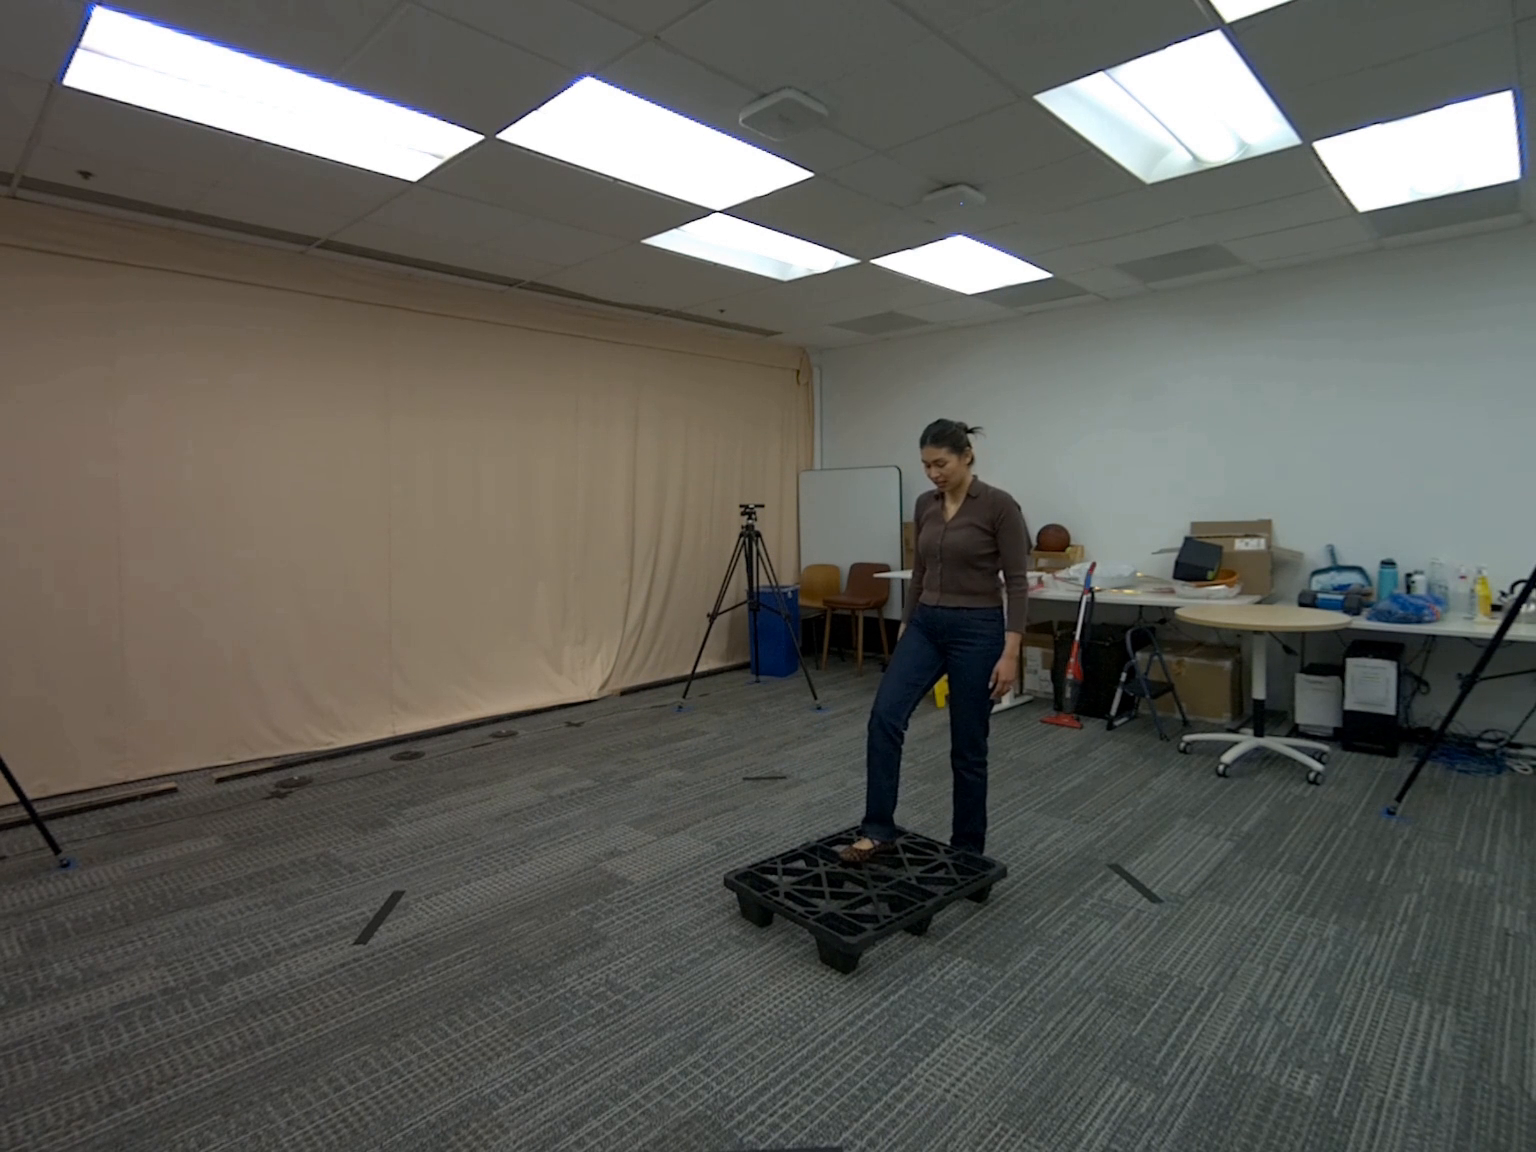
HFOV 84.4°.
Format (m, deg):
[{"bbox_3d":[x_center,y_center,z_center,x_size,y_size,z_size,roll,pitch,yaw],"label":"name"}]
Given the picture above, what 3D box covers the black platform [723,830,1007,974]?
[{"bbox_3d":[0.335,1.075,2.887,0.781,0.143,0.625,-5,6,-40],"label":"black platform"}]
